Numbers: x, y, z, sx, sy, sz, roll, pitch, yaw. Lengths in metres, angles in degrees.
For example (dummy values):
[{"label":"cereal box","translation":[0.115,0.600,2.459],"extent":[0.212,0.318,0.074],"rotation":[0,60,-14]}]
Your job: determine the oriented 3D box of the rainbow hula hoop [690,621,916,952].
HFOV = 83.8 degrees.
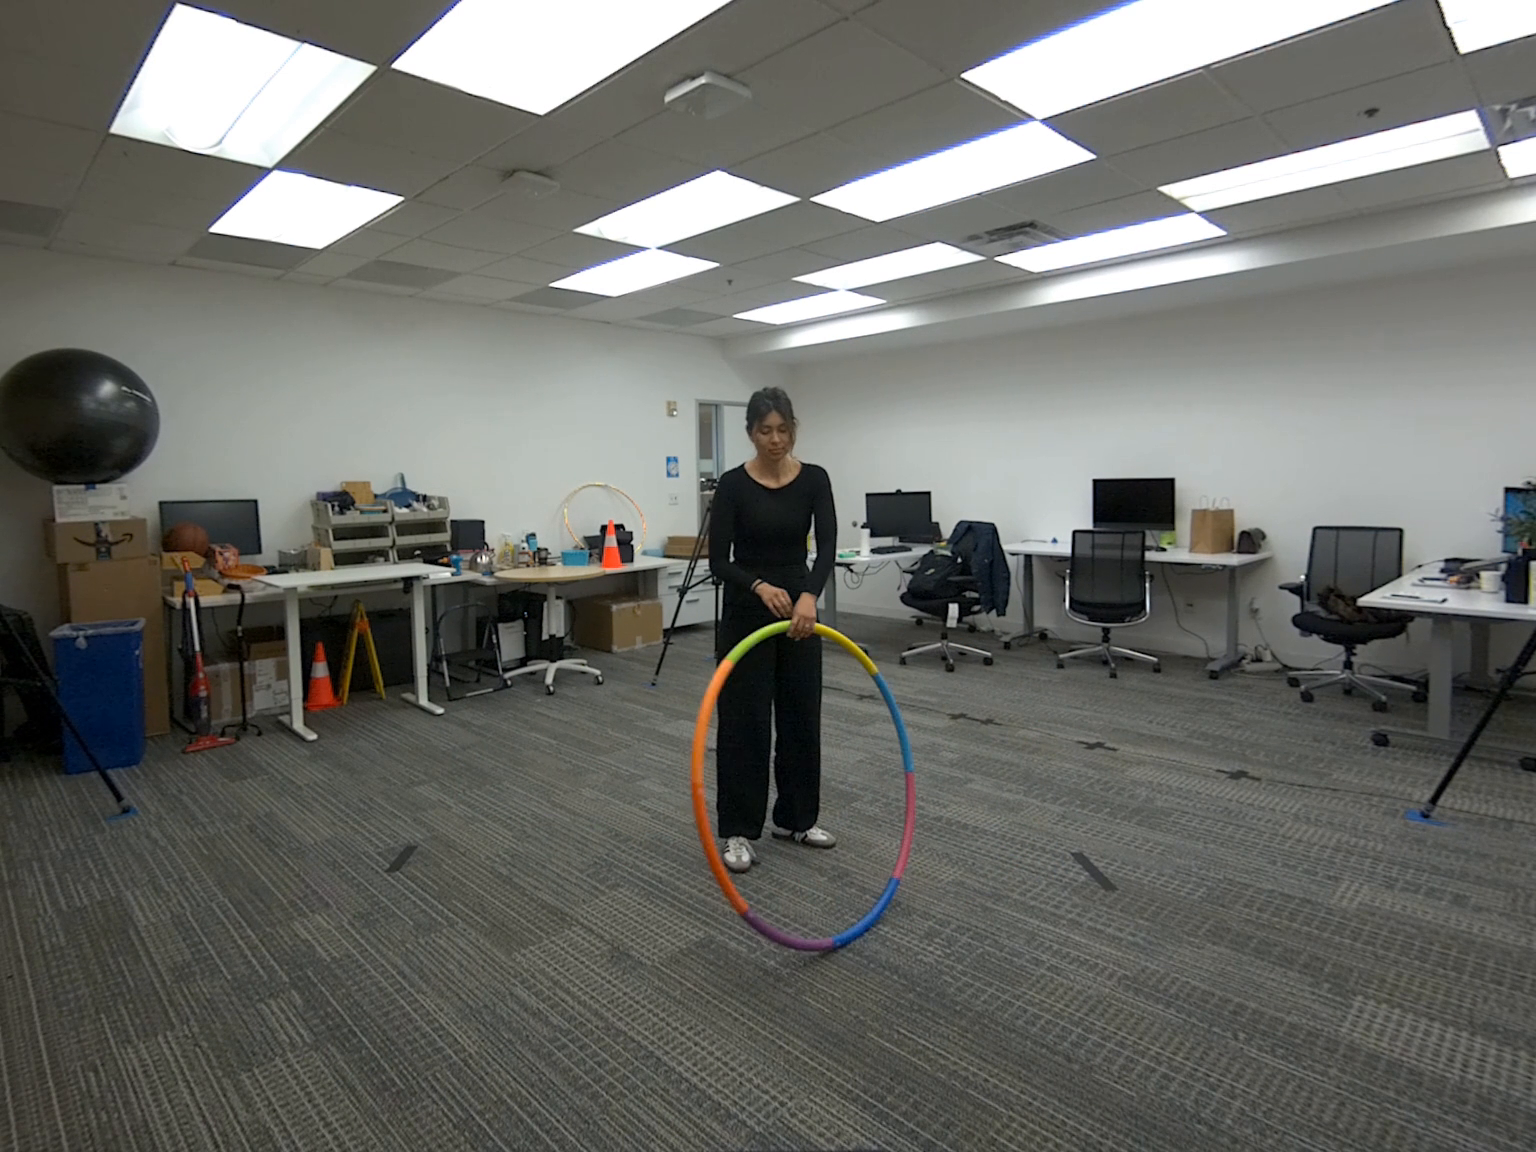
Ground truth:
[{"label":"rainbow hula hoop","translation":[0.159,0.623,2.655],"extent":[0.953,0.988,0.036],"rotation":[-6,-12,-45]}]
